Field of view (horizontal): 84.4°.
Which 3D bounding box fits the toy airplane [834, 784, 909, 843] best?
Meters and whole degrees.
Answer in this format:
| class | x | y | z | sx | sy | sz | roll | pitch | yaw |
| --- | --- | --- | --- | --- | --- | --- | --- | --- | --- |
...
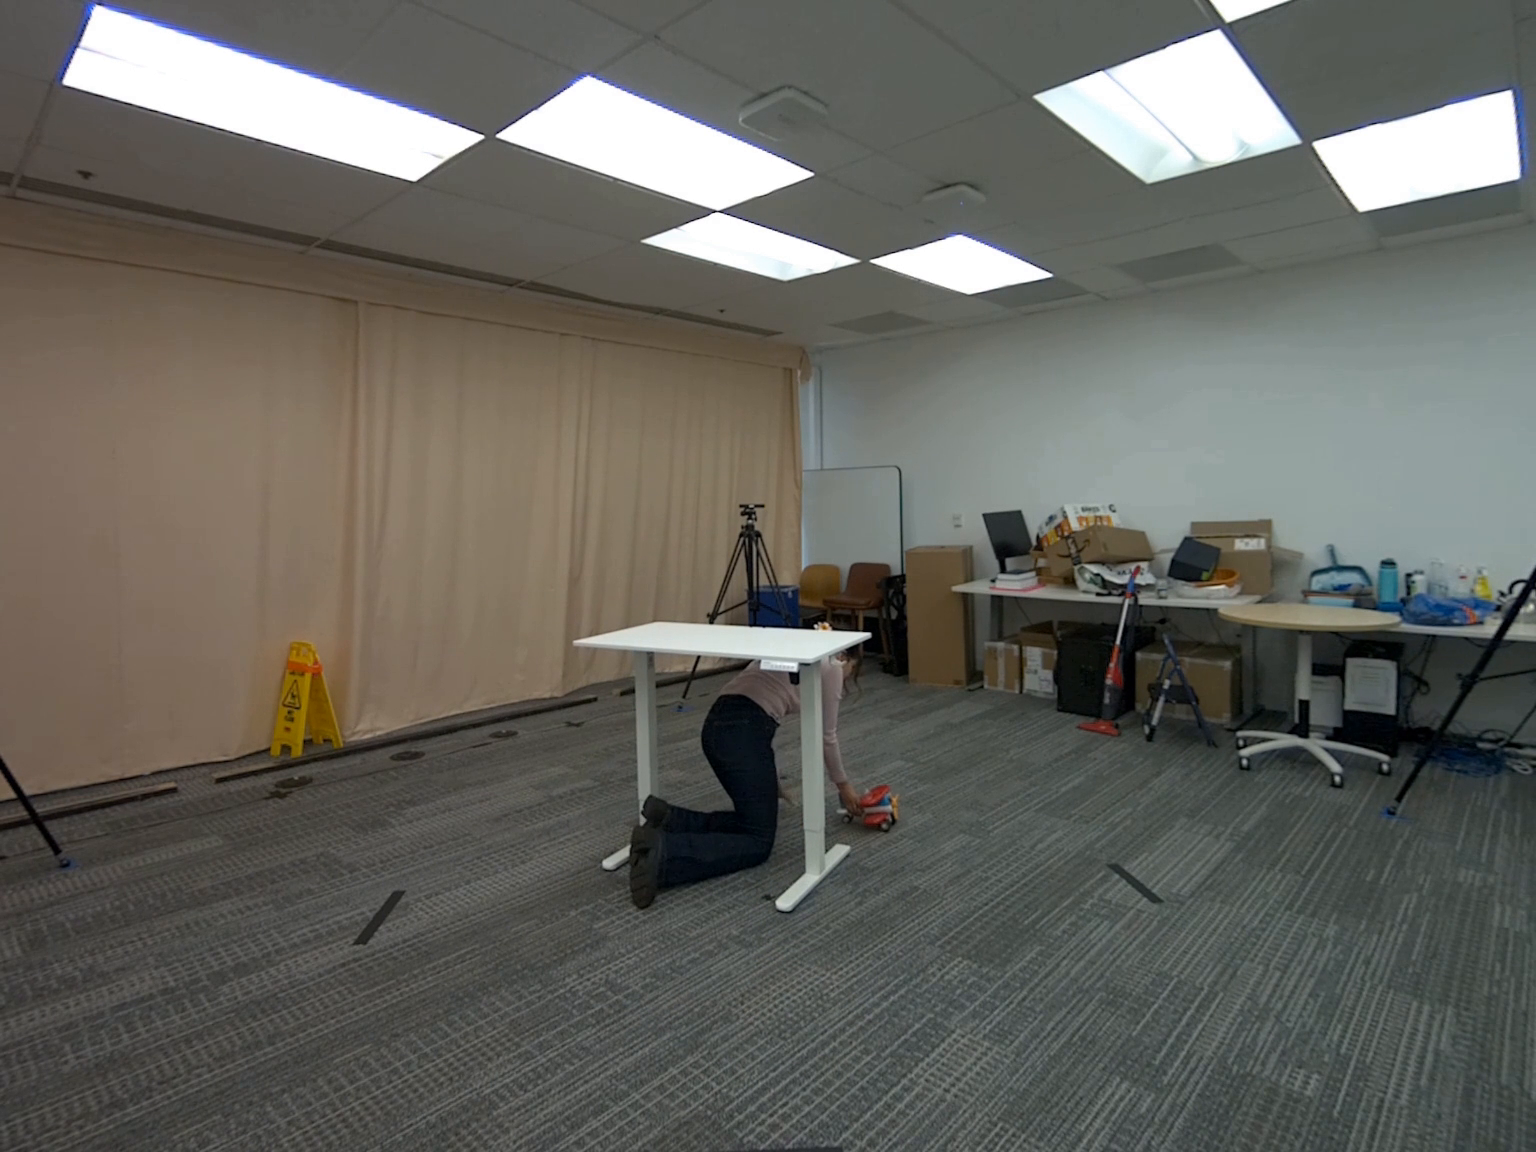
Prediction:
| class | x | y | z | sx | sy | sz | roll | pitch | yaw |
| --- | --- | --- | --- | --- | --- | --- | --- | --- | --- |
| toy airplane | 0.433 | 1.007 | 3.609 | 0.258 | 0.156 | 0.252 | 1 | 3 | -3 |
